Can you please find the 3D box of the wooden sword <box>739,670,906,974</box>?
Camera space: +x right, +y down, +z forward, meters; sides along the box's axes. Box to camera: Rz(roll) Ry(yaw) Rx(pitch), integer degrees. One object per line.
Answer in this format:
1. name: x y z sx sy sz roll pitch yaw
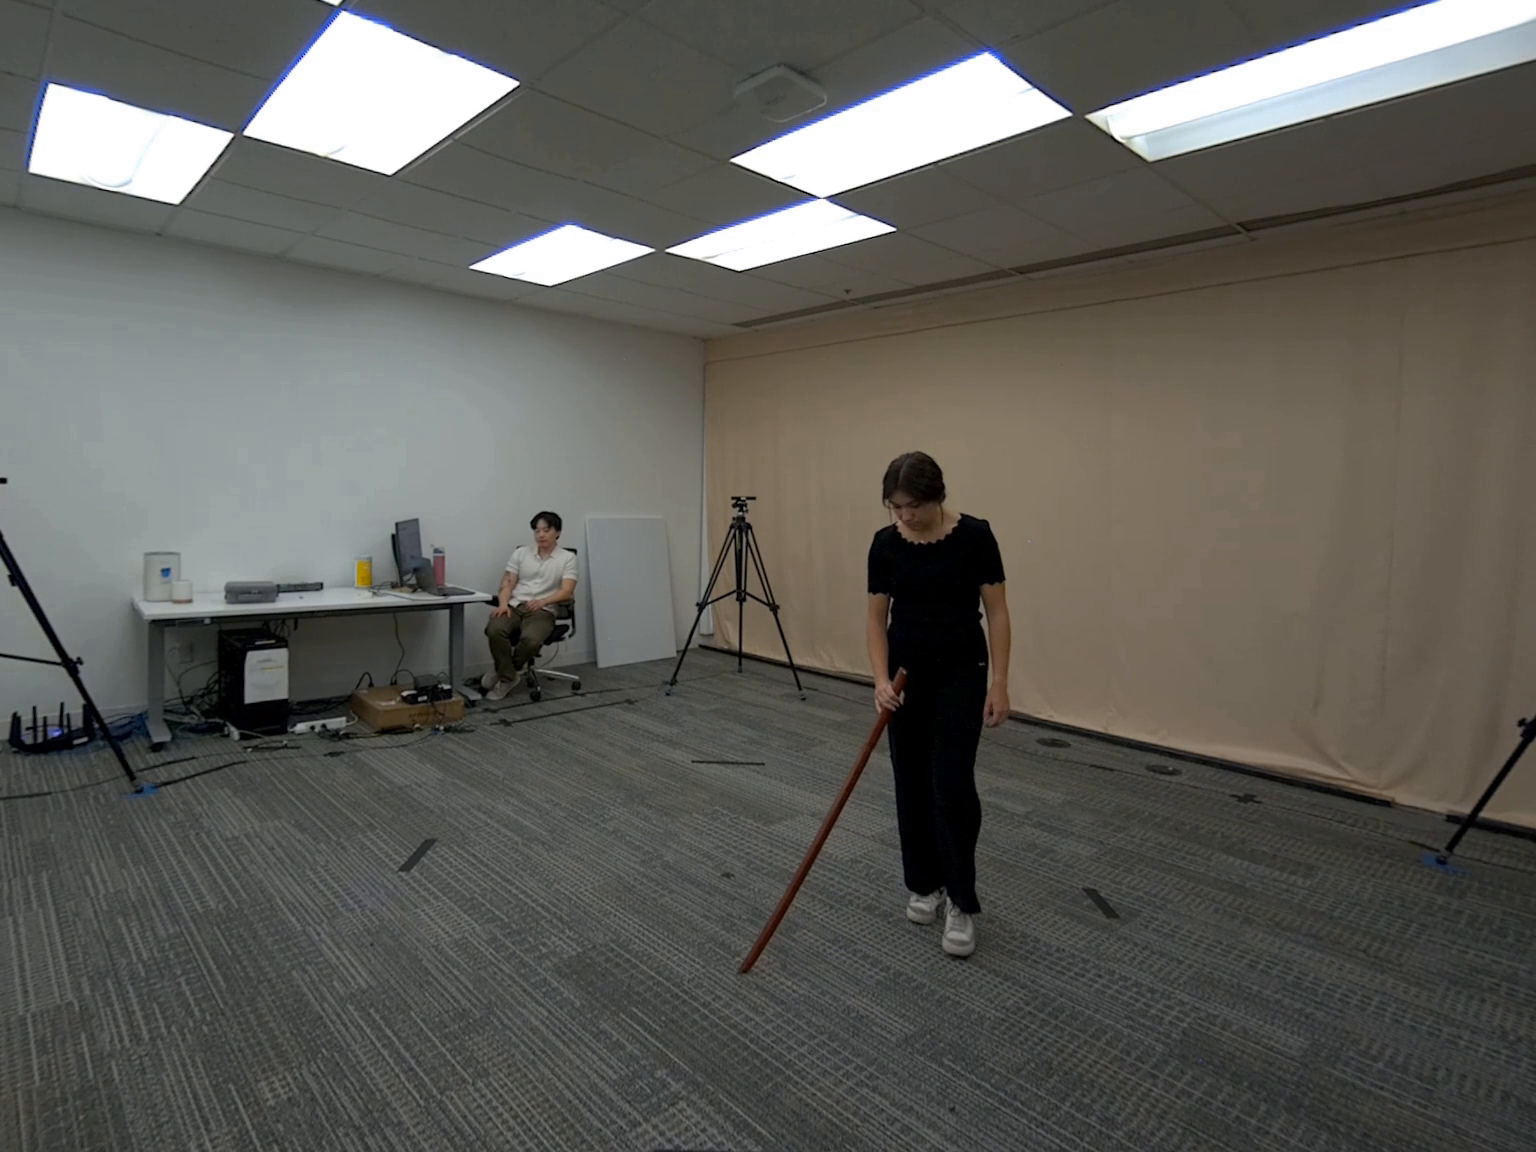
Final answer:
1. wooden sword: 0.176 0.761 2.557 0.052 1.027 0.023 27 -14 23
